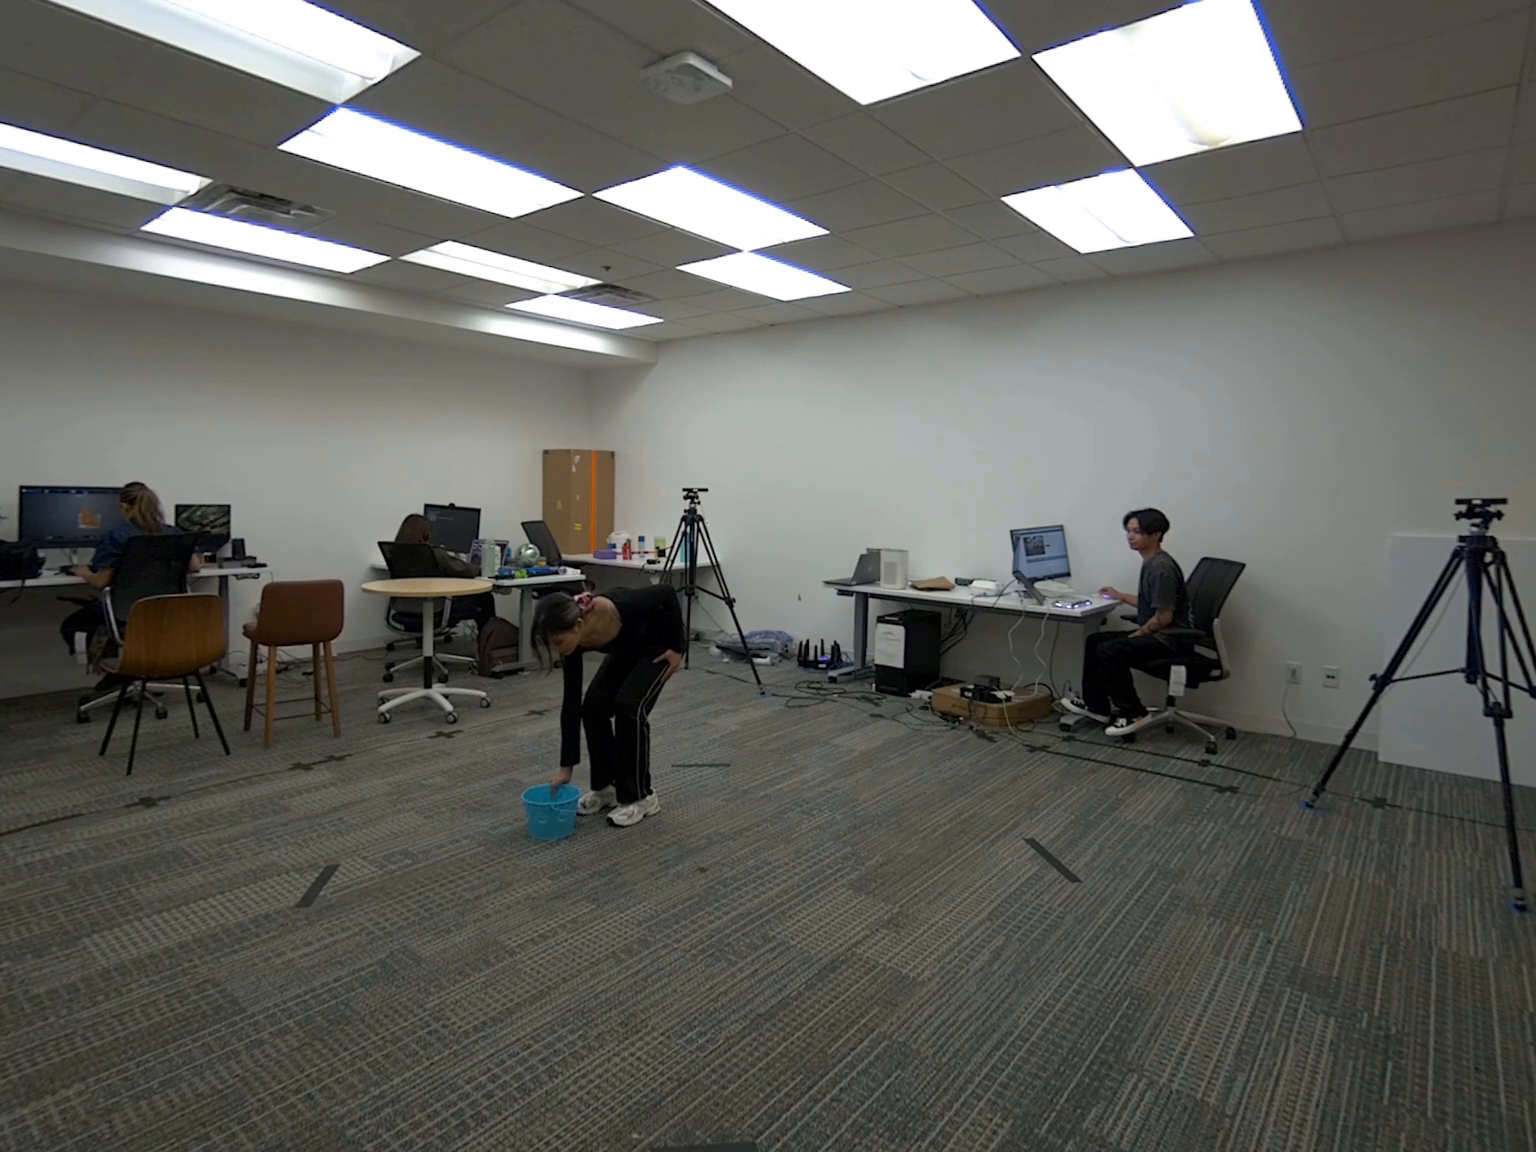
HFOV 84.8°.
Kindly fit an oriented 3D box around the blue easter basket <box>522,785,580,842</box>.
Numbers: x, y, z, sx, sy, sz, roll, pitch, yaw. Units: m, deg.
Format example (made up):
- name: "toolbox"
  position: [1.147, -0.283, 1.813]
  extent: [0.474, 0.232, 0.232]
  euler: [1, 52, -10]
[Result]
- name: "blue easter basket"
  position: [-0.882, 0.946, 3.438]
  extent: [0.243, 0.155, 0.245]
  euler: [0, 5, -2]
